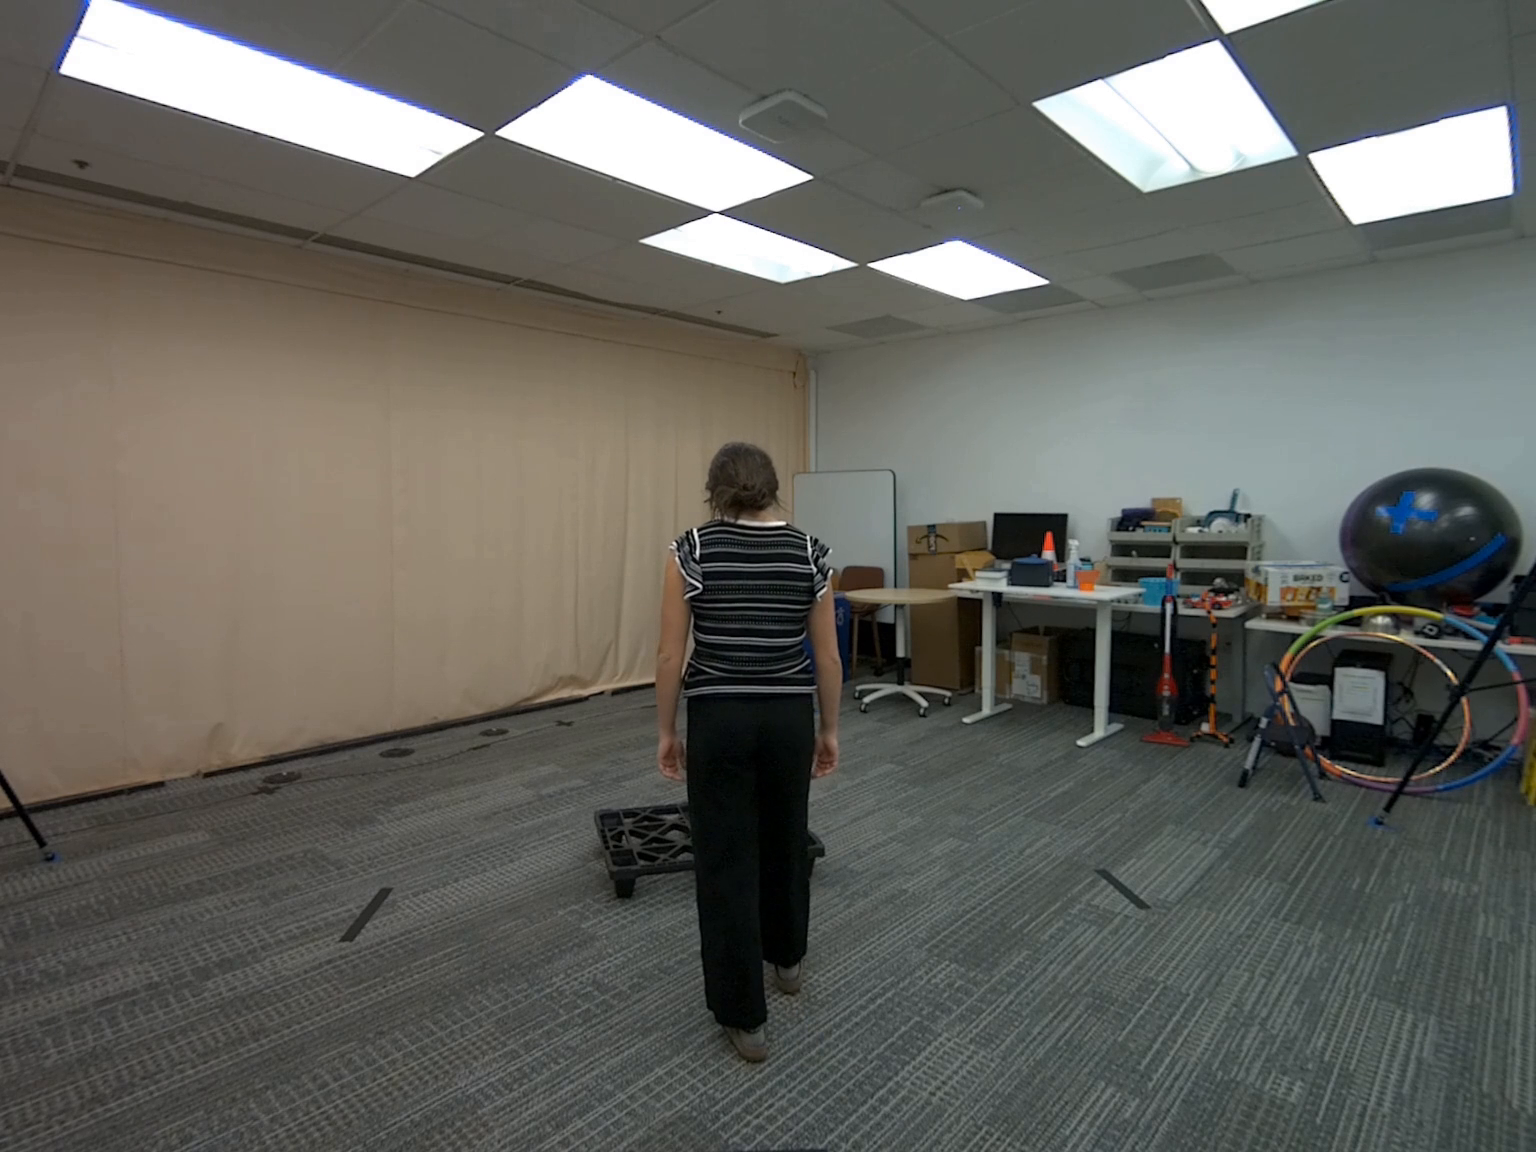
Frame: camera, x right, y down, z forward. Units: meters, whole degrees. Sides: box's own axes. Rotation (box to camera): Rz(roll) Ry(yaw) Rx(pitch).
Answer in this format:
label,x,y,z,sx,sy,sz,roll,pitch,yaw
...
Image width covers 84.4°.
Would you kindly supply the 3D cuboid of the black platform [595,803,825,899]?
label,x,y,z,sx,sy,sz,roll,pitch,yaw
black platform,-0.253,1.049,3.296,0.794,0.143,0.615,-2,4,-15
